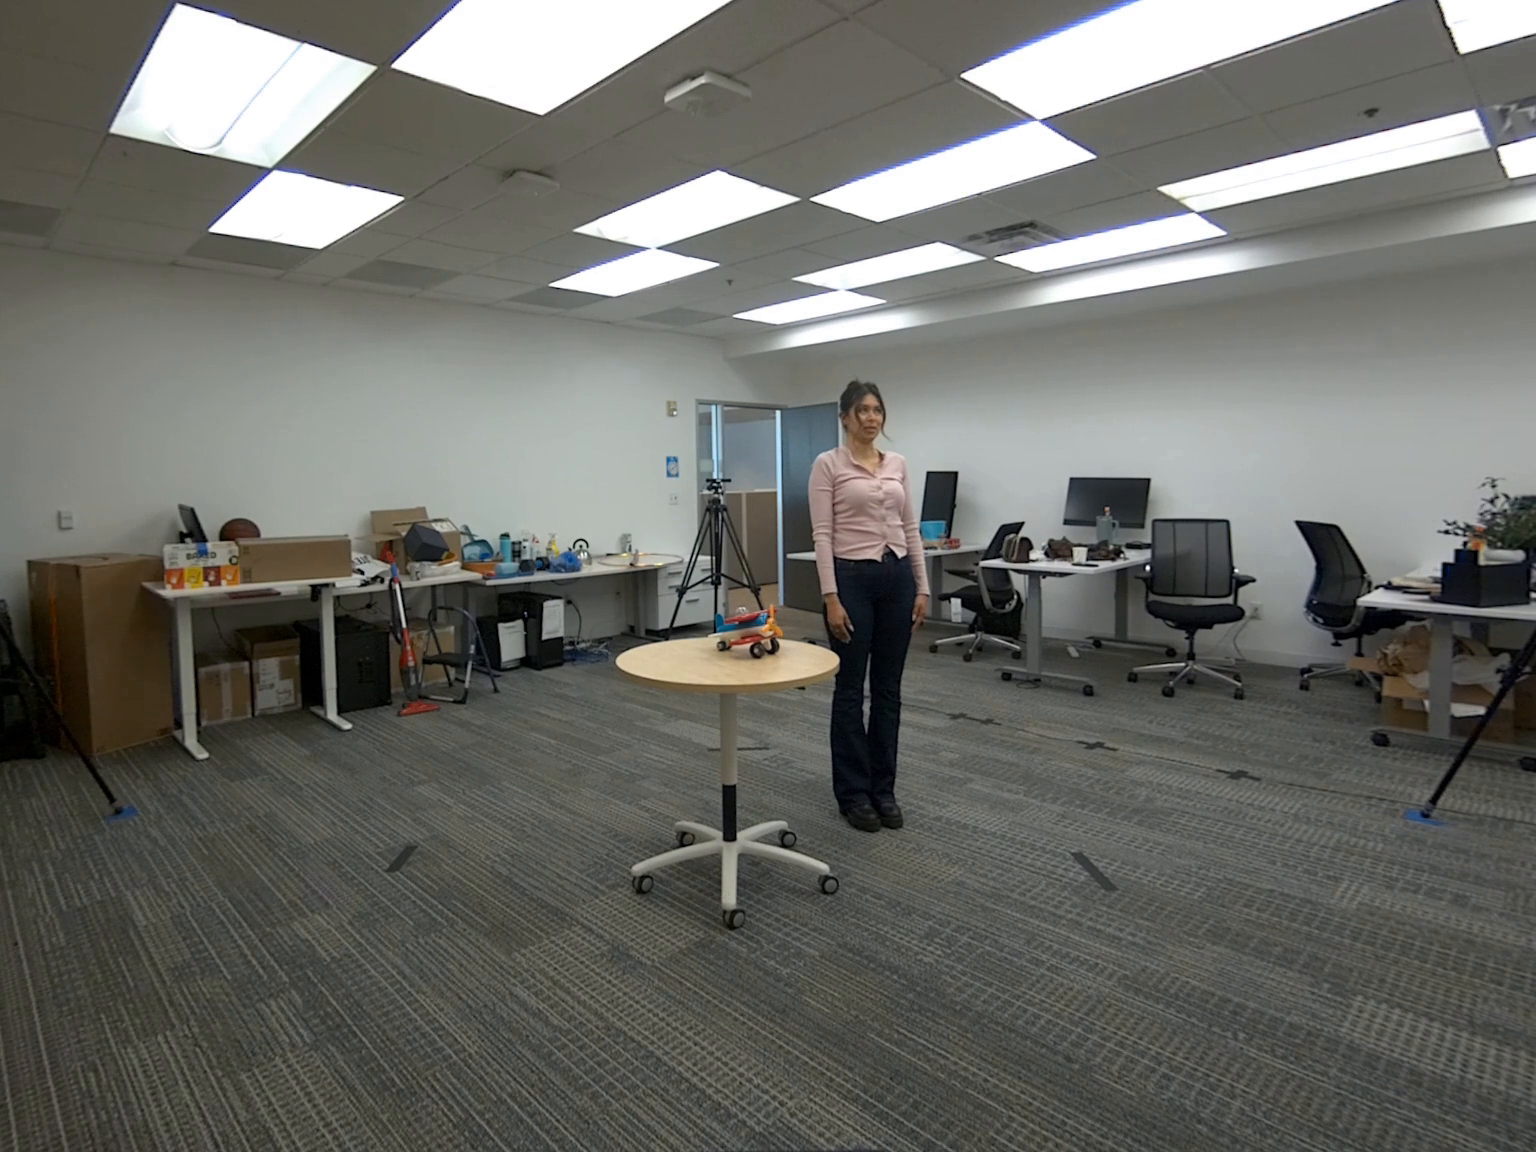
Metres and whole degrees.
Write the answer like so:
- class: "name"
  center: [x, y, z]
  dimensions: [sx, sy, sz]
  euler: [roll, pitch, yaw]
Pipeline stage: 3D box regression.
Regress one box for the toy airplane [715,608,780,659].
- class: "toy airplane"
  center: [-0.091, 0.198, 2.990]
  dimensions: [0.262, 0.155, 0.250]
  euler: [1, 7, 8]
